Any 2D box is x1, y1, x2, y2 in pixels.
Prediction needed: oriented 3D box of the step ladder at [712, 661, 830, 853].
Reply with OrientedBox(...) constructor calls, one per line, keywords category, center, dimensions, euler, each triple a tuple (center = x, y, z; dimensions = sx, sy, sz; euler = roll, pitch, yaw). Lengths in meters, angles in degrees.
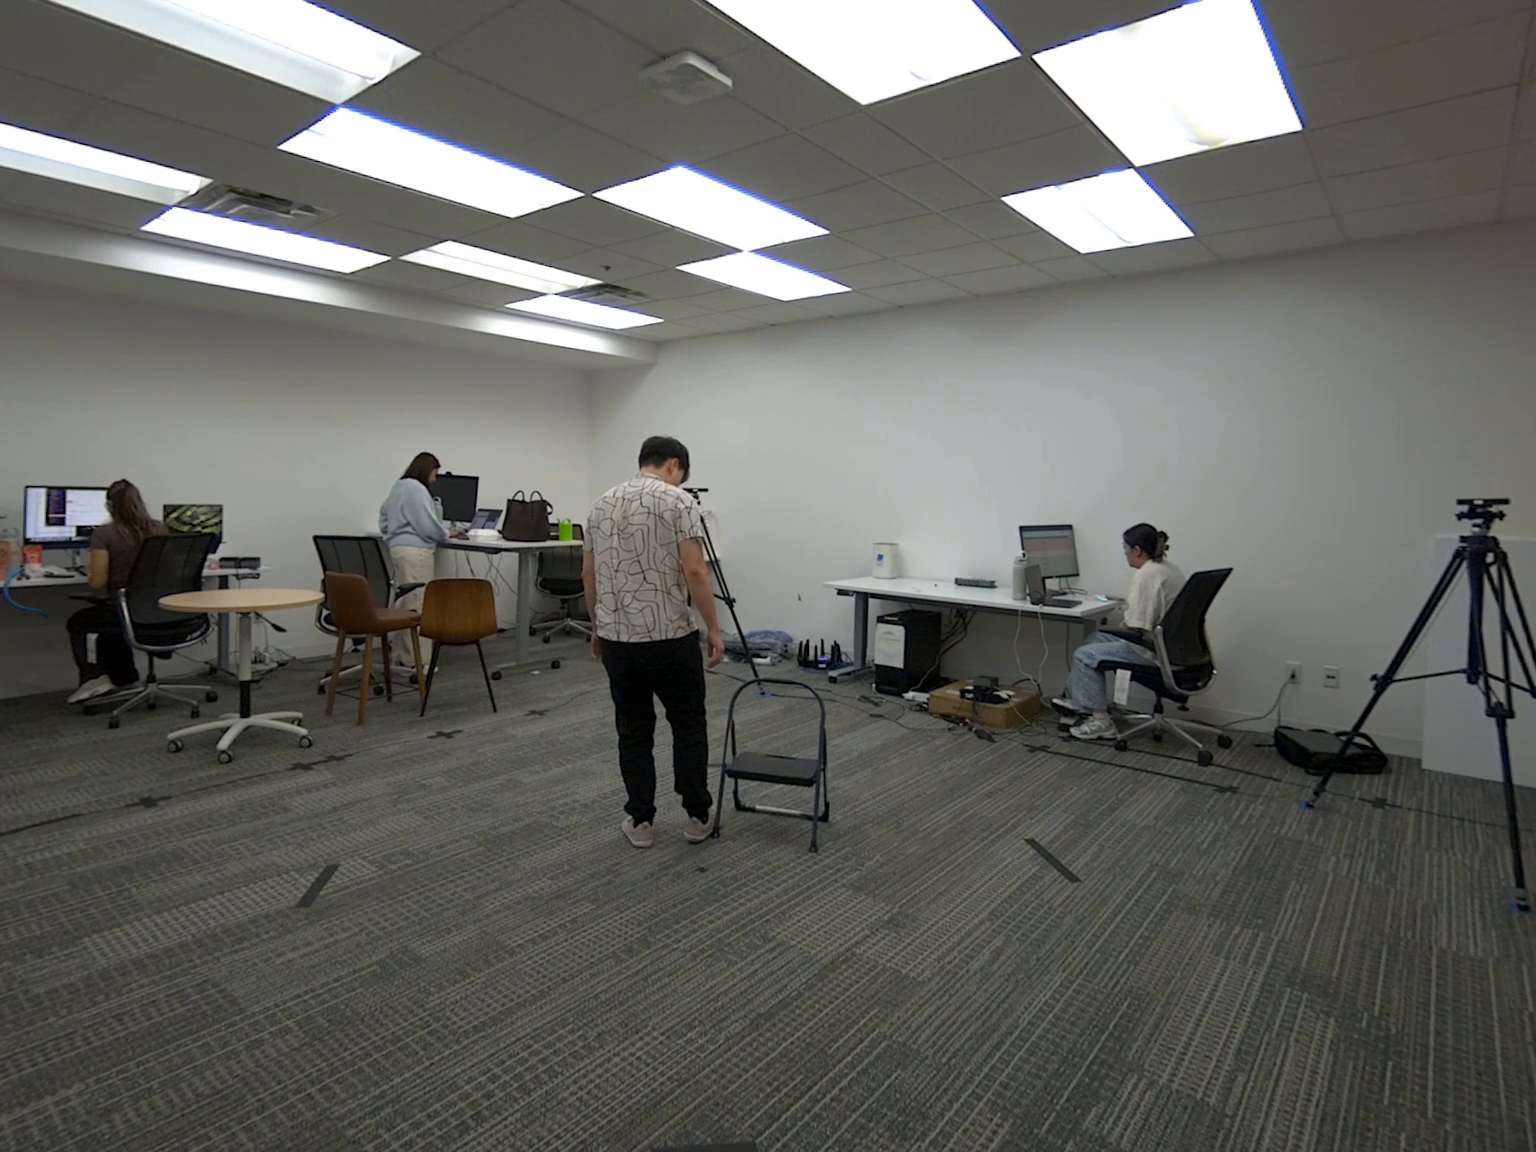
OrientedBox(category="step ladder", center=(0.021, 0.739, 3.486), dimensions=(0.438, 0.604, 0.344), euler=(2, 4, 15))
